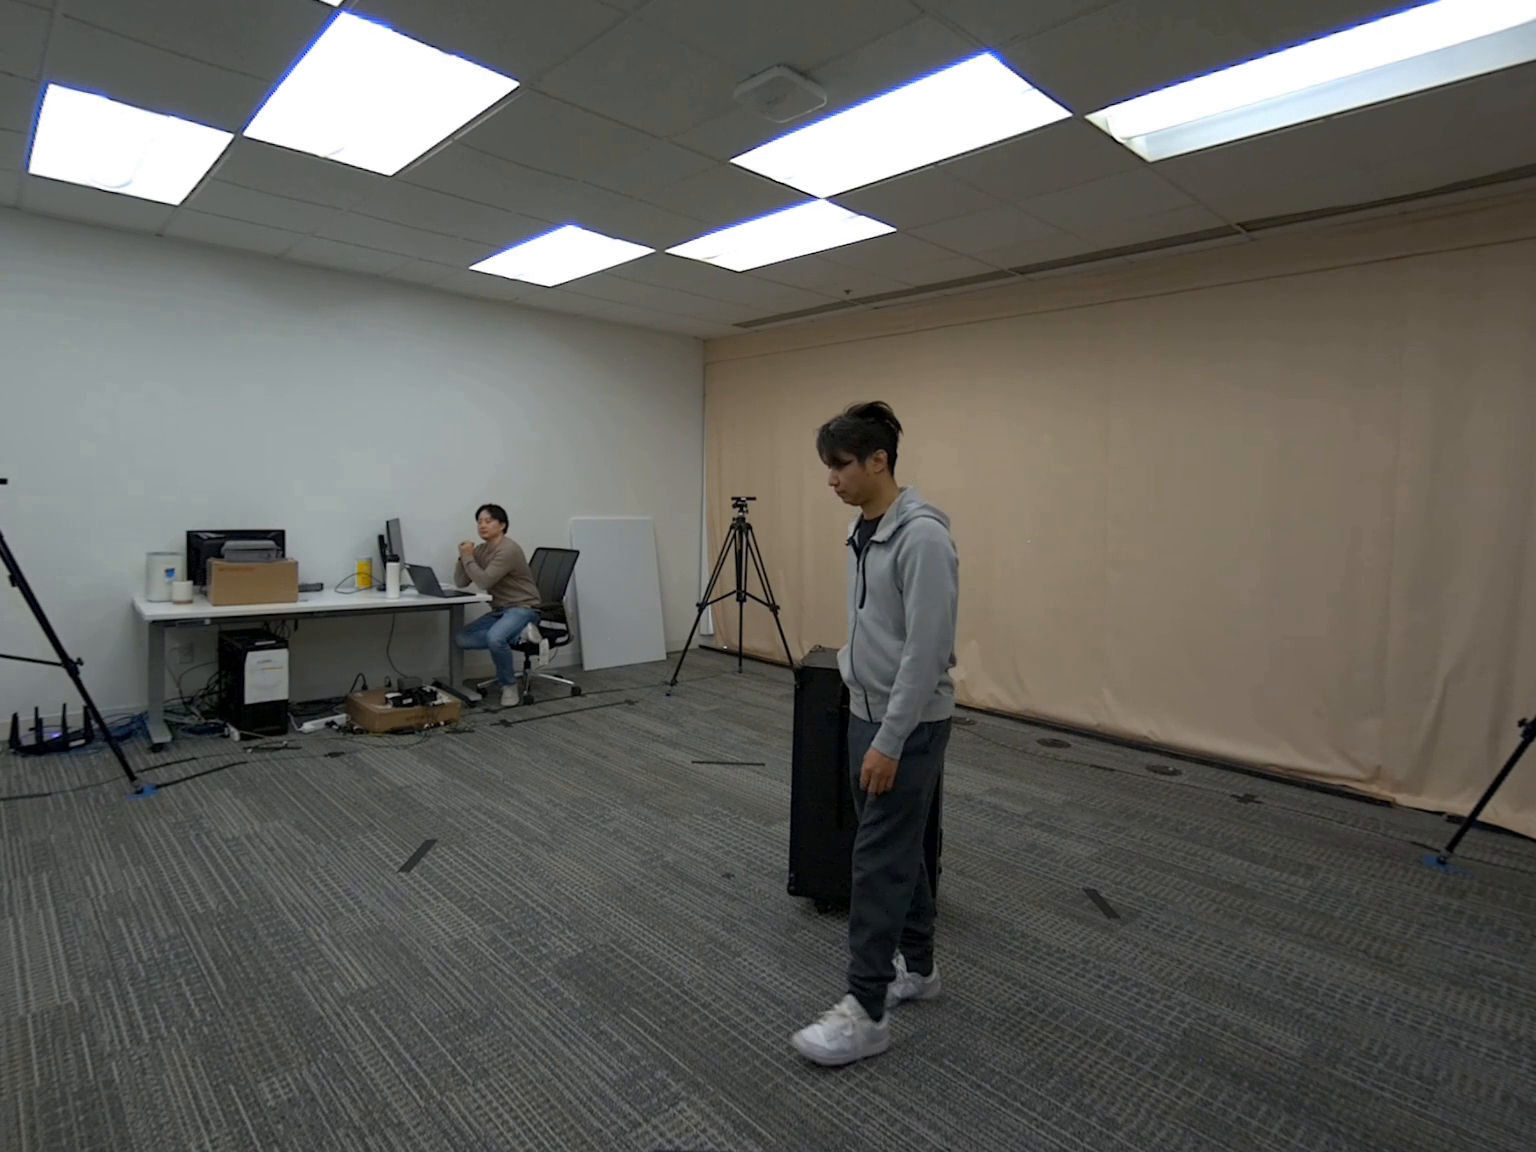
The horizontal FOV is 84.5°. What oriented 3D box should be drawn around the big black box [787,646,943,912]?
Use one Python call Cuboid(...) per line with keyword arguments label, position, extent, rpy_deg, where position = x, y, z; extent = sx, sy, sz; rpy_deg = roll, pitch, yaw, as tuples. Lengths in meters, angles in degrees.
Cuboid(label="big black box", position=(0.345, 0.715, 2.877), extent=(0.528, 0.858, 0.392), rpy_deg=(3, 5, 16))
